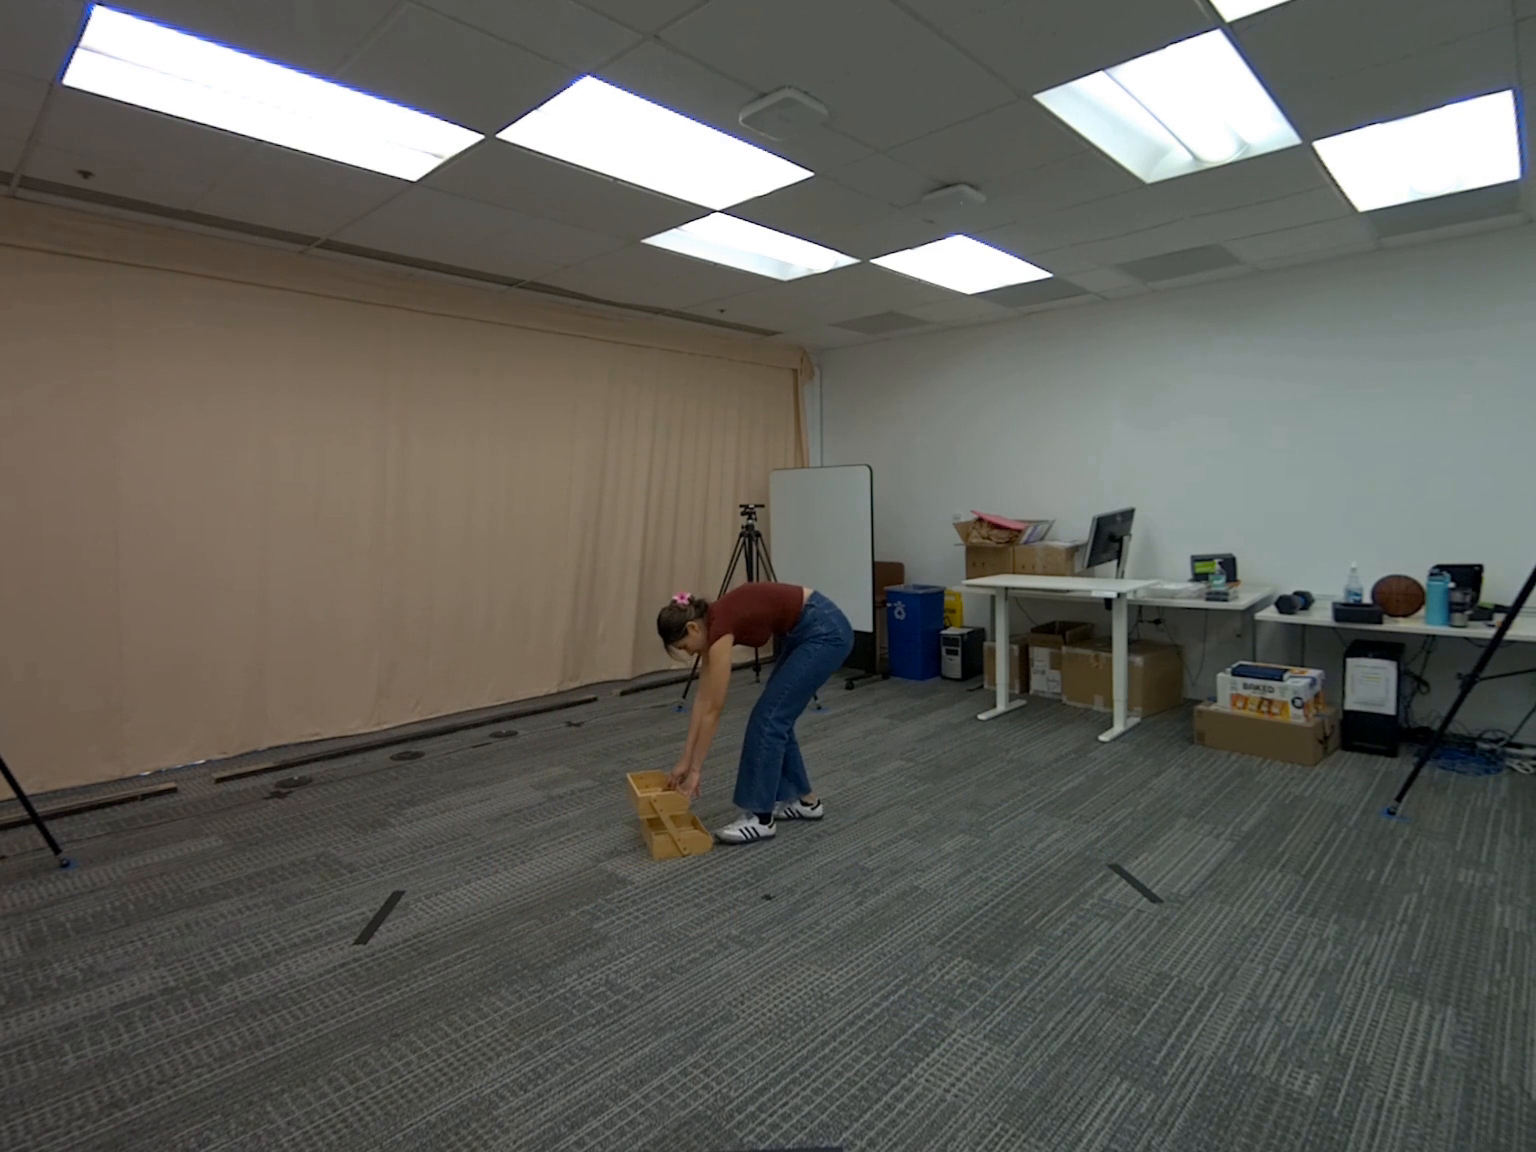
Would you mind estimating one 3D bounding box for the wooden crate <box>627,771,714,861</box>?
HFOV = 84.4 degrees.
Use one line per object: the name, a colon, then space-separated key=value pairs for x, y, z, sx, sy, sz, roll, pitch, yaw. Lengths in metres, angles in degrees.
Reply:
wooden crate: x=-0.408 y=0.972 z=3.494 sx=0.297 sy=0.273 sz=0.331 roll=-2 pitch=4 yaw=-17
